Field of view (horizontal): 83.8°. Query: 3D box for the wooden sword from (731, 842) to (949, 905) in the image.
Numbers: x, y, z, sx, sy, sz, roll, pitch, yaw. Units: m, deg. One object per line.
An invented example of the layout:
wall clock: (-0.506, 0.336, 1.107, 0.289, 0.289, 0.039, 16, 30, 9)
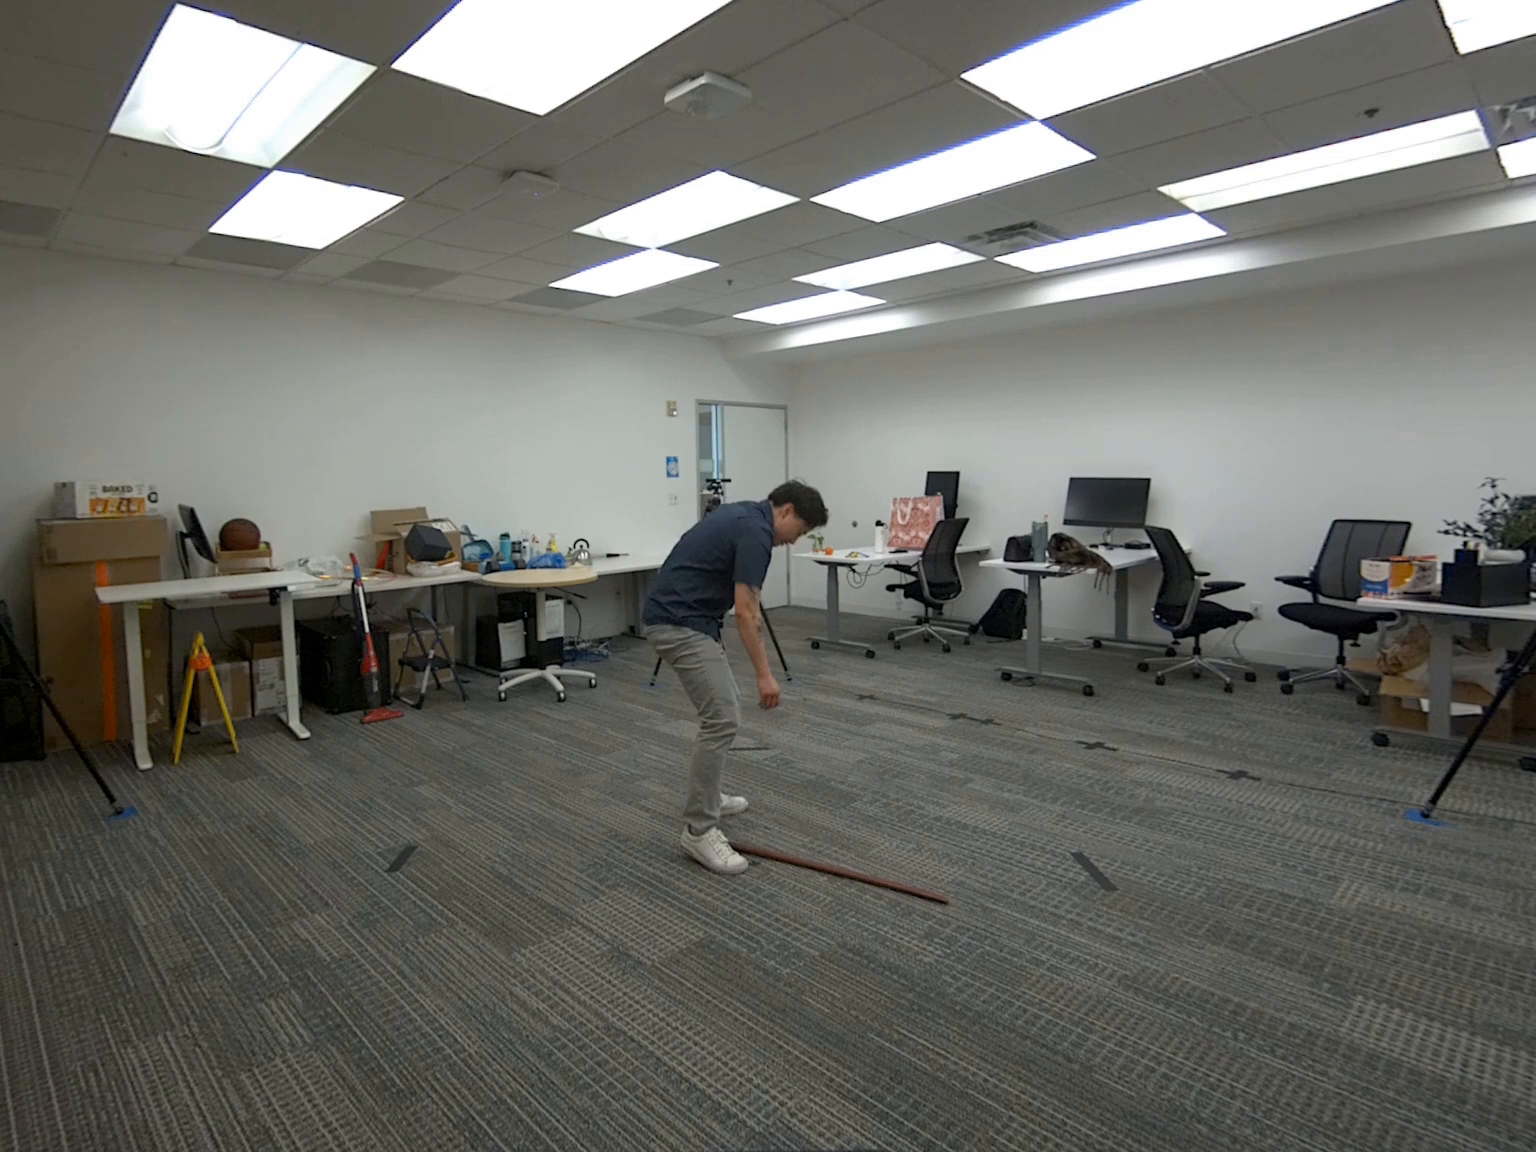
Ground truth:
wooden sword: (0.129, 1.017, 3.063, 1.053, 0.024, 0.049, 3, -14, 31)
